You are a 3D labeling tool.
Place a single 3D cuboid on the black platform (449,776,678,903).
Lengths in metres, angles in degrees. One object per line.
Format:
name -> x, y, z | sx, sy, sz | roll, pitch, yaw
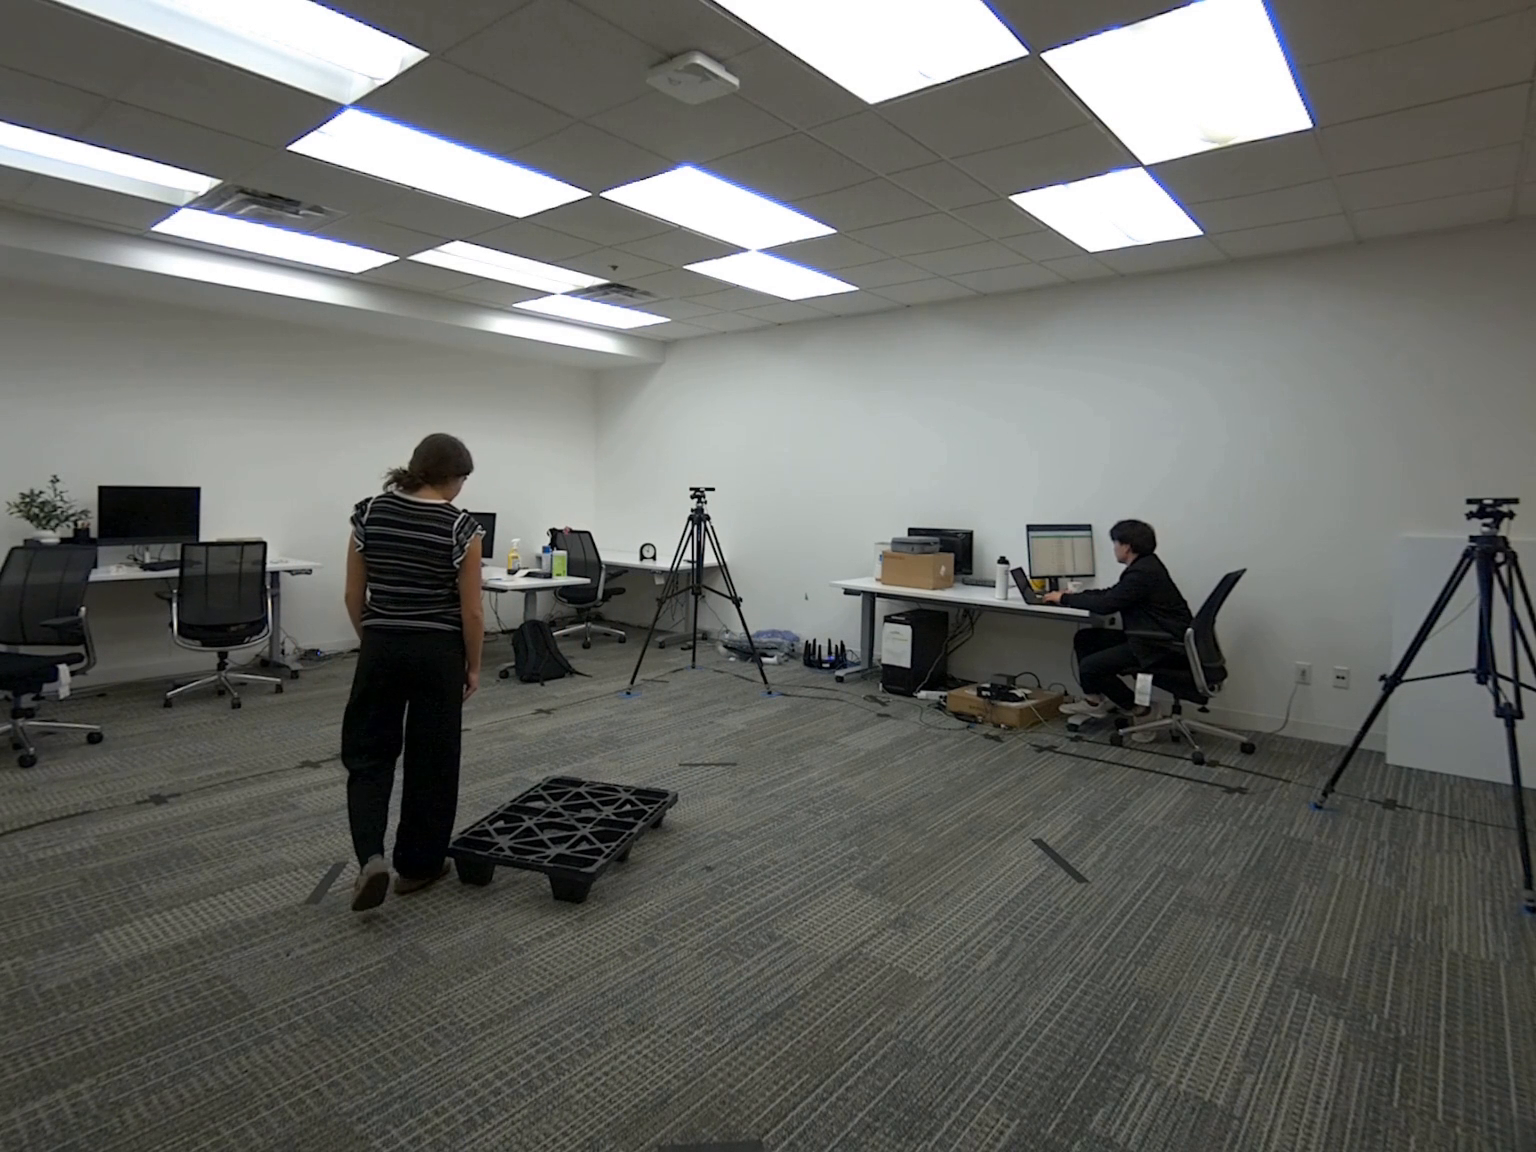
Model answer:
black platform -> -0.761, 0.974, 3.240 | 0.616, 0.143, 0.794 | 3, 6, 16
